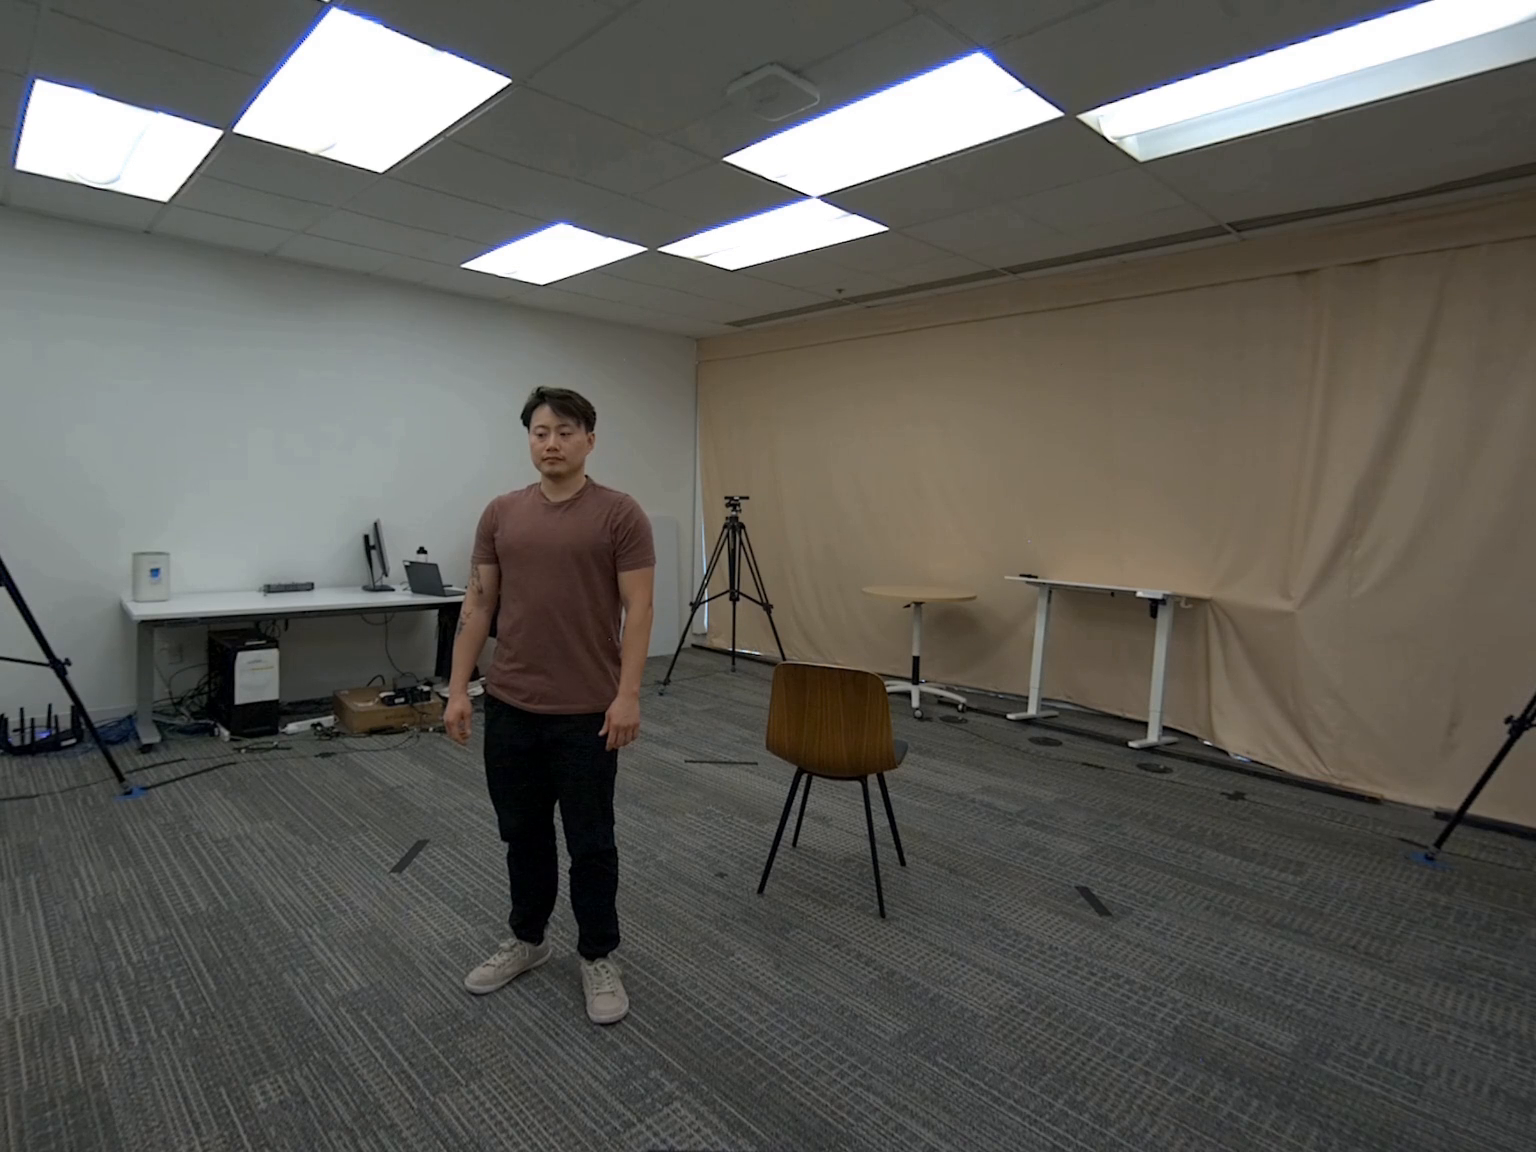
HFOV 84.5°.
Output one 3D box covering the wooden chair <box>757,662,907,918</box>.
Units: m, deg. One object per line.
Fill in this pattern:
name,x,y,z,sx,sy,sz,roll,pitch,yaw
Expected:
wooden chair,0.249,0.688,3.073,0.486,0.873,0.517,3,7,20
